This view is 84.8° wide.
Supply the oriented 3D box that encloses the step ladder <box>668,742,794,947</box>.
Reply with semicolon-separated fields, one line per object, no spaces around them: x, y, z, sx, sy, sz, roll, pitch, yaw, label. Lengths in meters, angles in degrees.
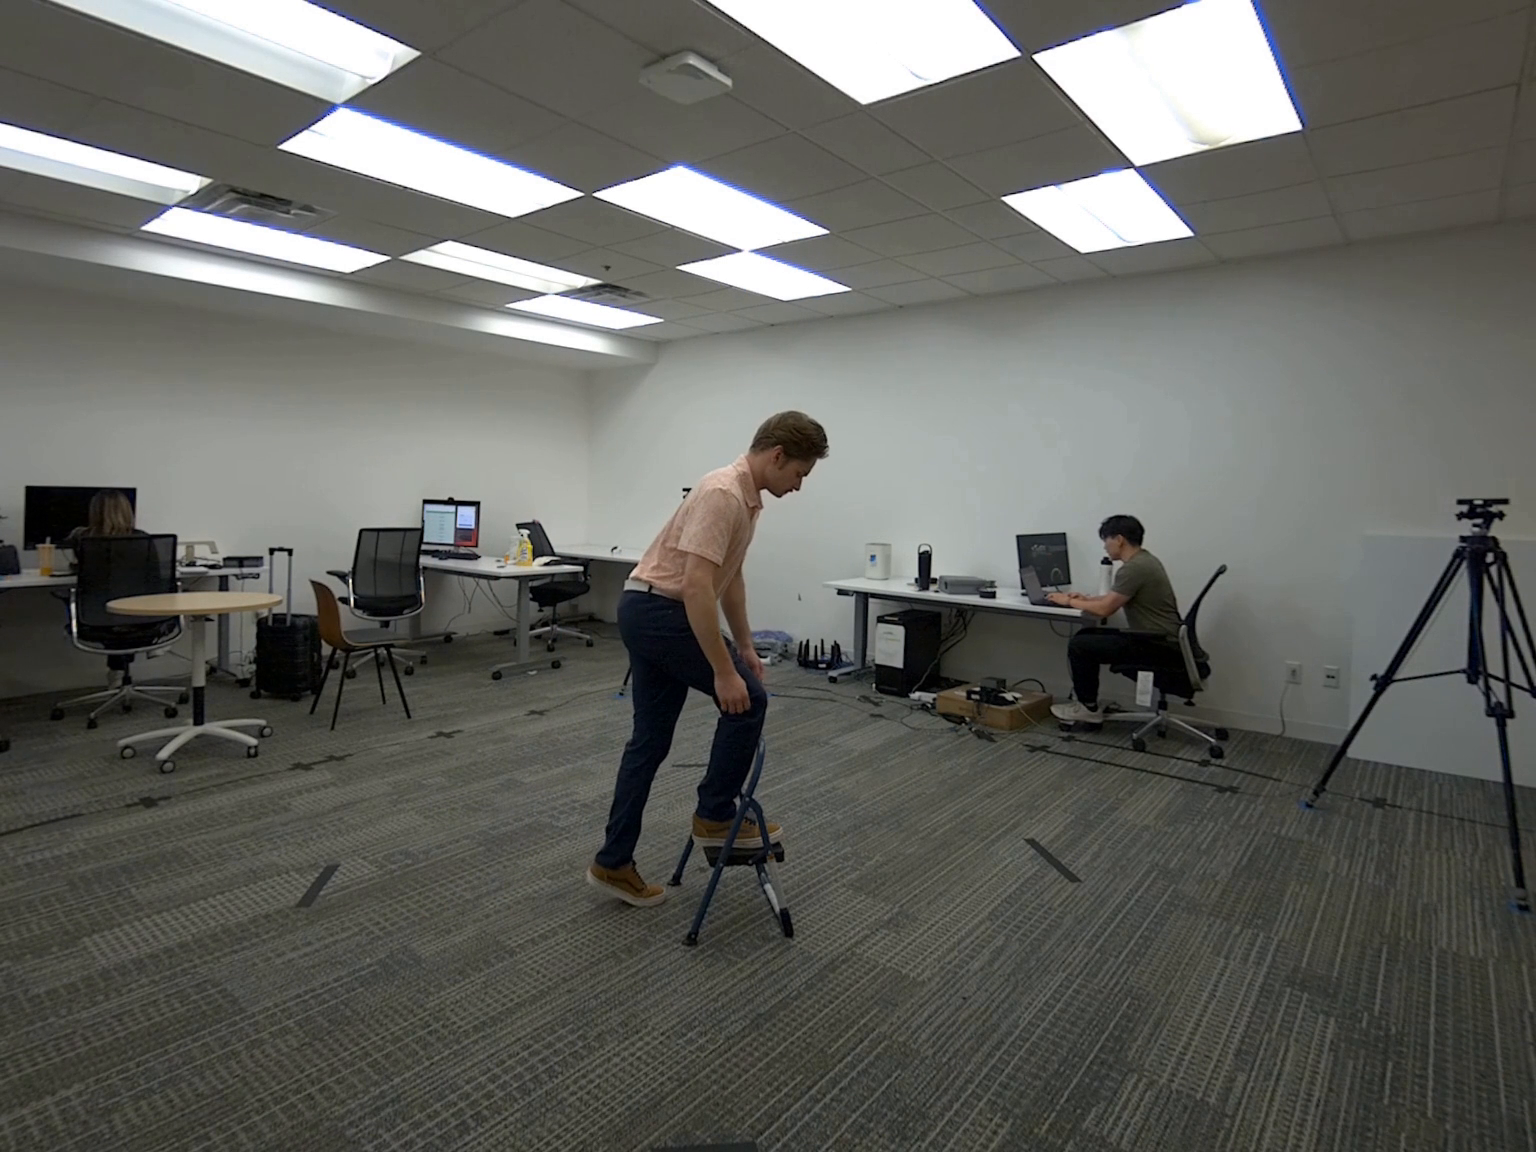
-0.130;0.804;2.804;0.345;0.605;0.437;0;3;-13;step ladder
